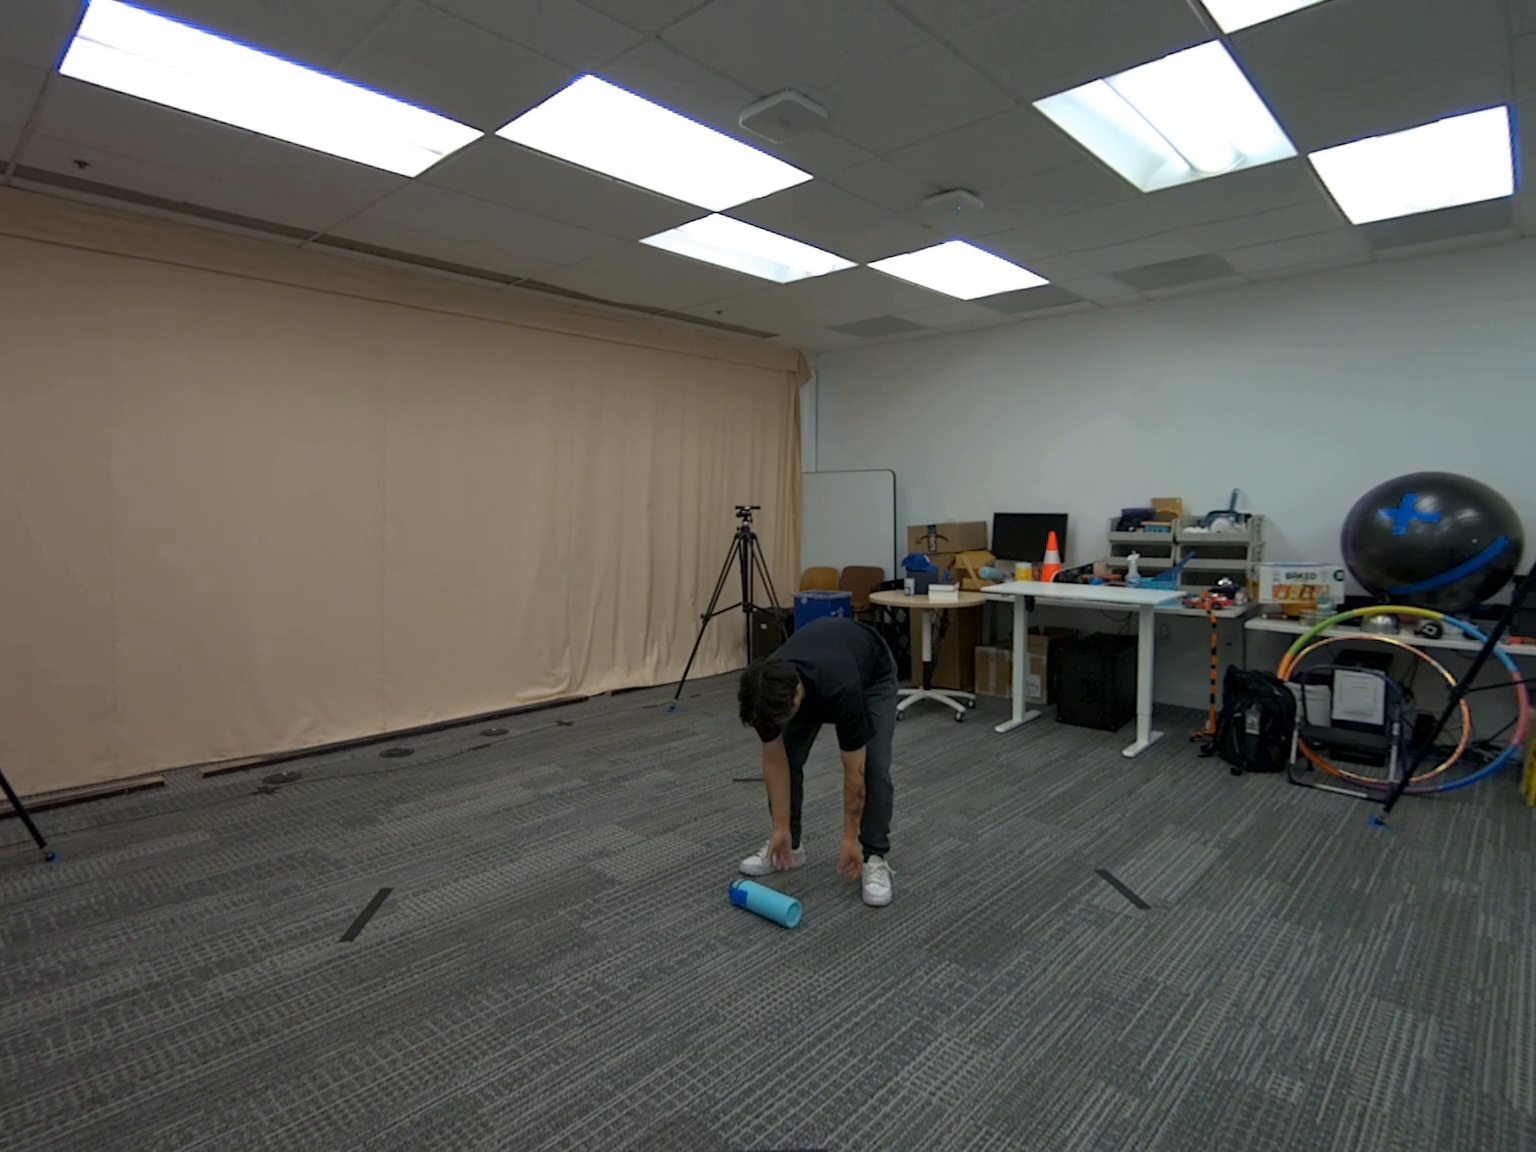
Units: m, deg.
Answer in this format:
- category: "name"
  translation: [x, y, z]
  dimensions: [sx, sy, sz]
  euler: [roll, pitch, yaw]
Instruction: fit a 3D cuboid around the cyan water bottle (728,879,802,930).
- category: "cyan water bottle"
  translation: [-0.015, 1.104, 2.876]
  dimensions: [0.293, 0.092, 0.089]
  euler: [3, 5, 41]
